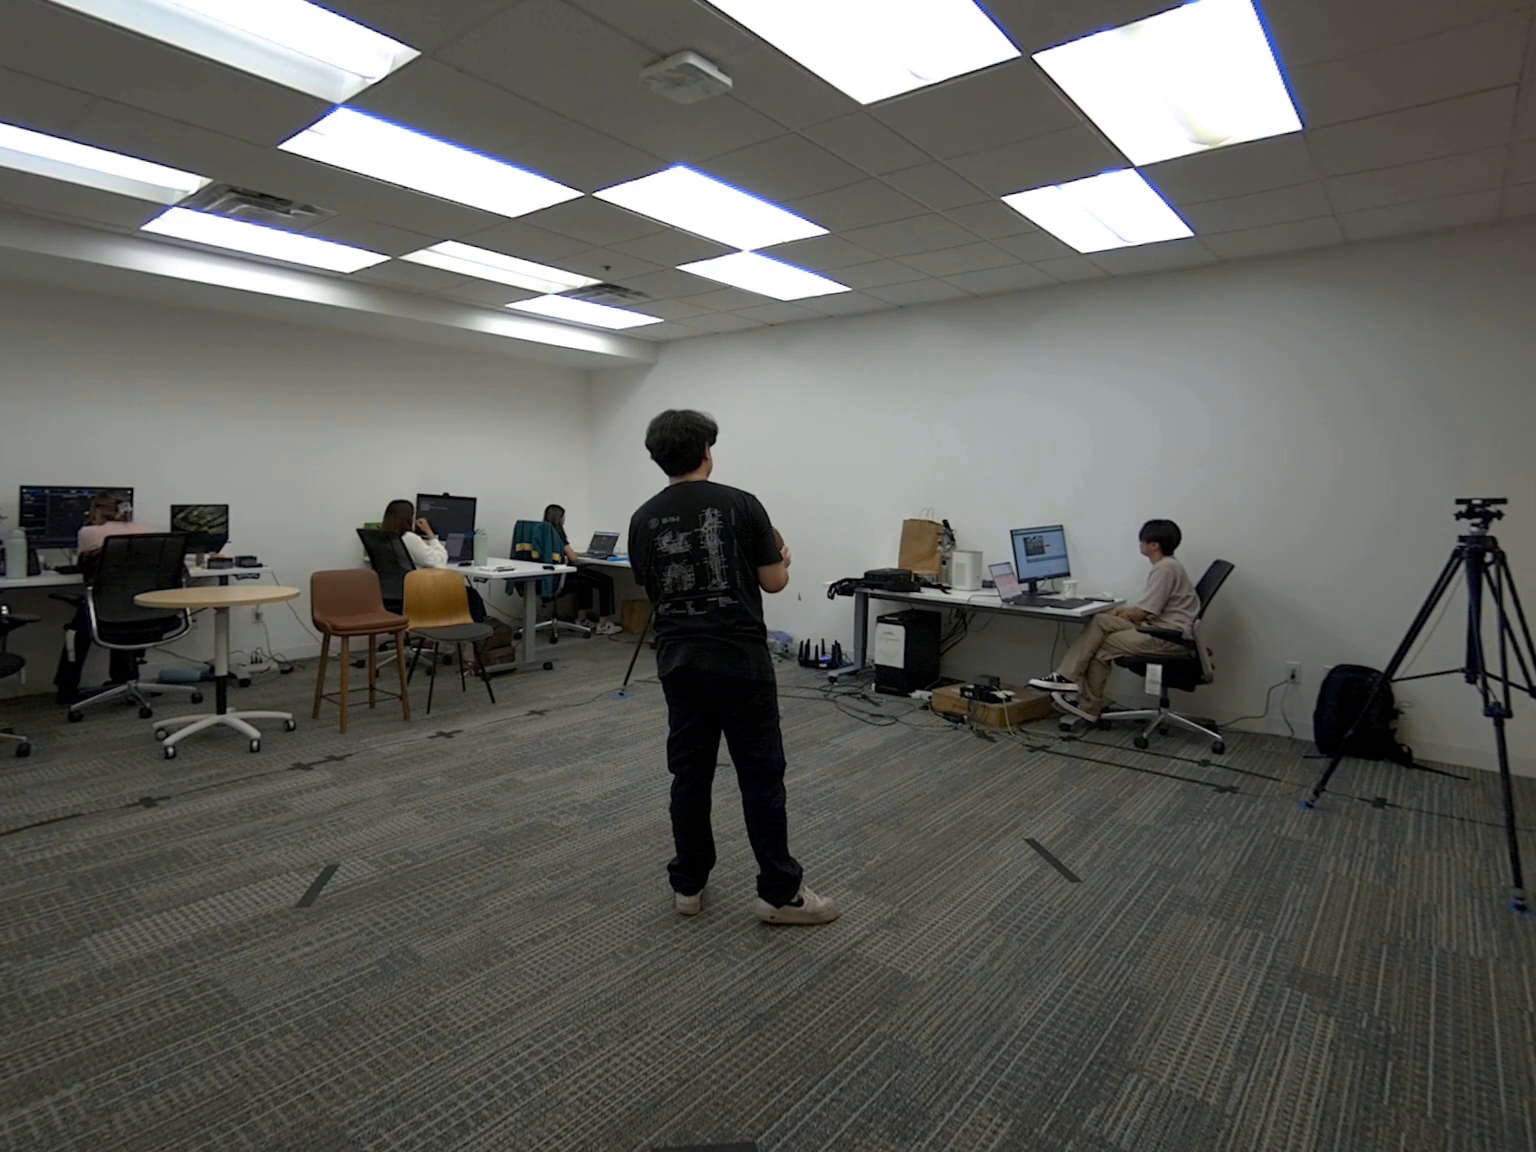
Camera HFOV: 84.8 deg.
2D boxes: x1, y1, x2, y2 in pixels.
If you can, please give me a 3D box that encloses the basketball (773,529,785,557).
[{"bbox_3d":[-0.059,-0.093,3.136,0.235,0.235,0.237,1,4,-2],"label":"basketball"}]
